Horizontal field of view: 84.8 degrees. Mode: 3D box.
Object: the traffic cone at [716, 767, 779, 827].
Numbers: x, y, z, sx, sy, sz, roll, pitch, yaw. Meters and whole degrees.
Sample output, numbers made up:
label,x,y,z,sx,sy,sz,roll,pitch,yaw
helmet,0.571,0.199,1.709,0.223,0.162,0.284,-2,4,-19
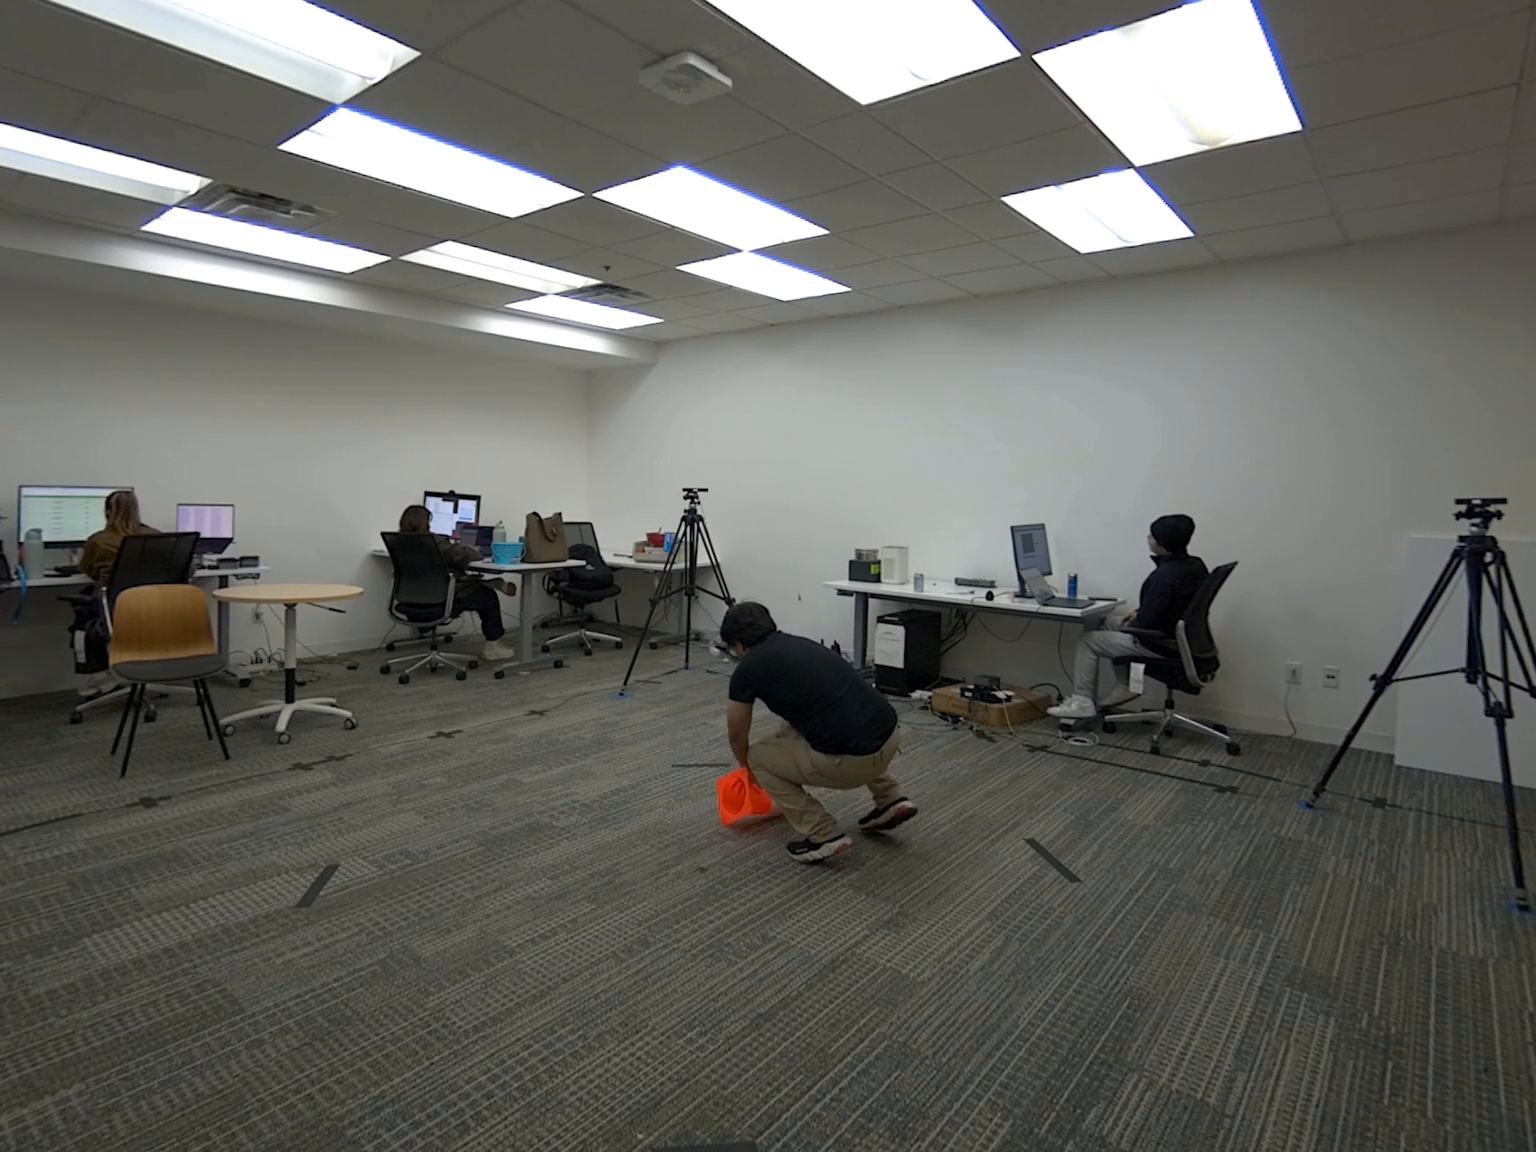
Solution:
label,x,y,z,sx,sy,sz,roll,pitch,yaw
traffic cone,-0.016,0.968,3.615,0.369,0.211,0.205,23,-46,-35
